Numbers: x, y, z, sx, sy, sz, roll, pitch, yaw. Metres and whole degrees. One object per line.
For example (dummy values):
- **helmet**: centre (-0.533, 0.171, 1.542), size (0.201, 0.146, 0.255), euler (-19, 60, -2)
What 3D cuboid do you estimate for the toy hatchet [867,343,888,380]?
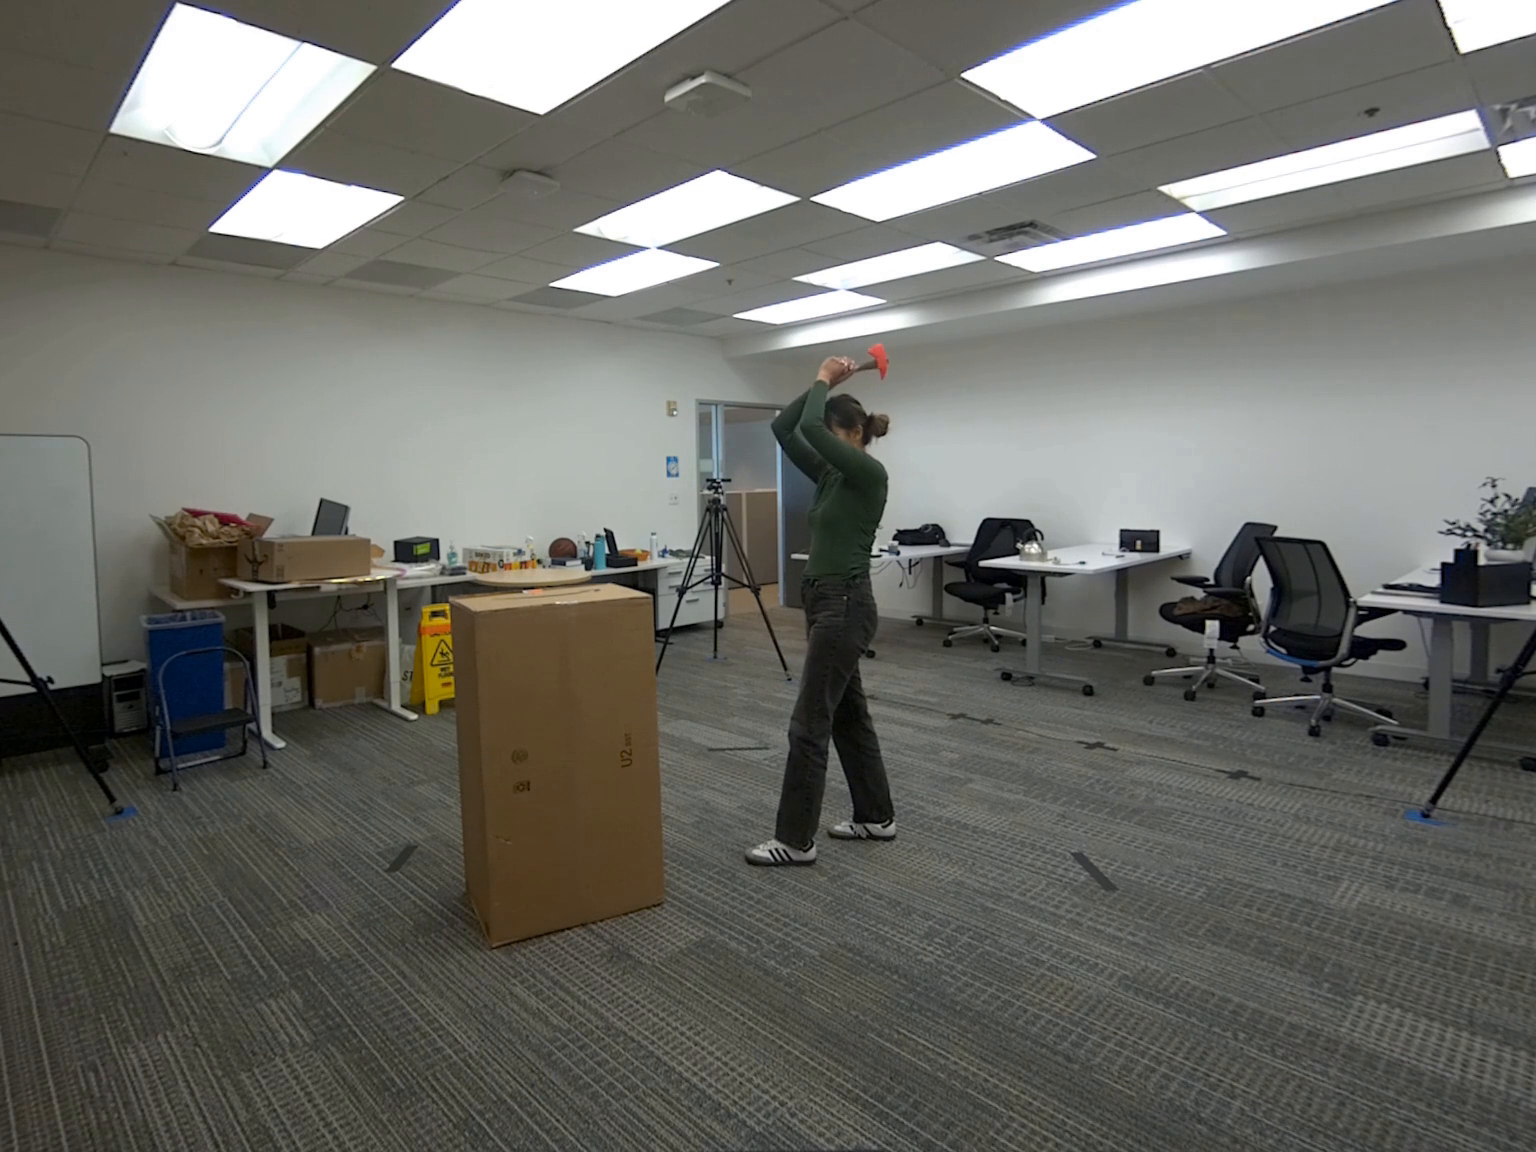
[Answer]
- **toy hatchet**: centre (0.326, -0.813, 3.182), size (0.264, 0.130, 0.030), euler (3, 15, -21)
